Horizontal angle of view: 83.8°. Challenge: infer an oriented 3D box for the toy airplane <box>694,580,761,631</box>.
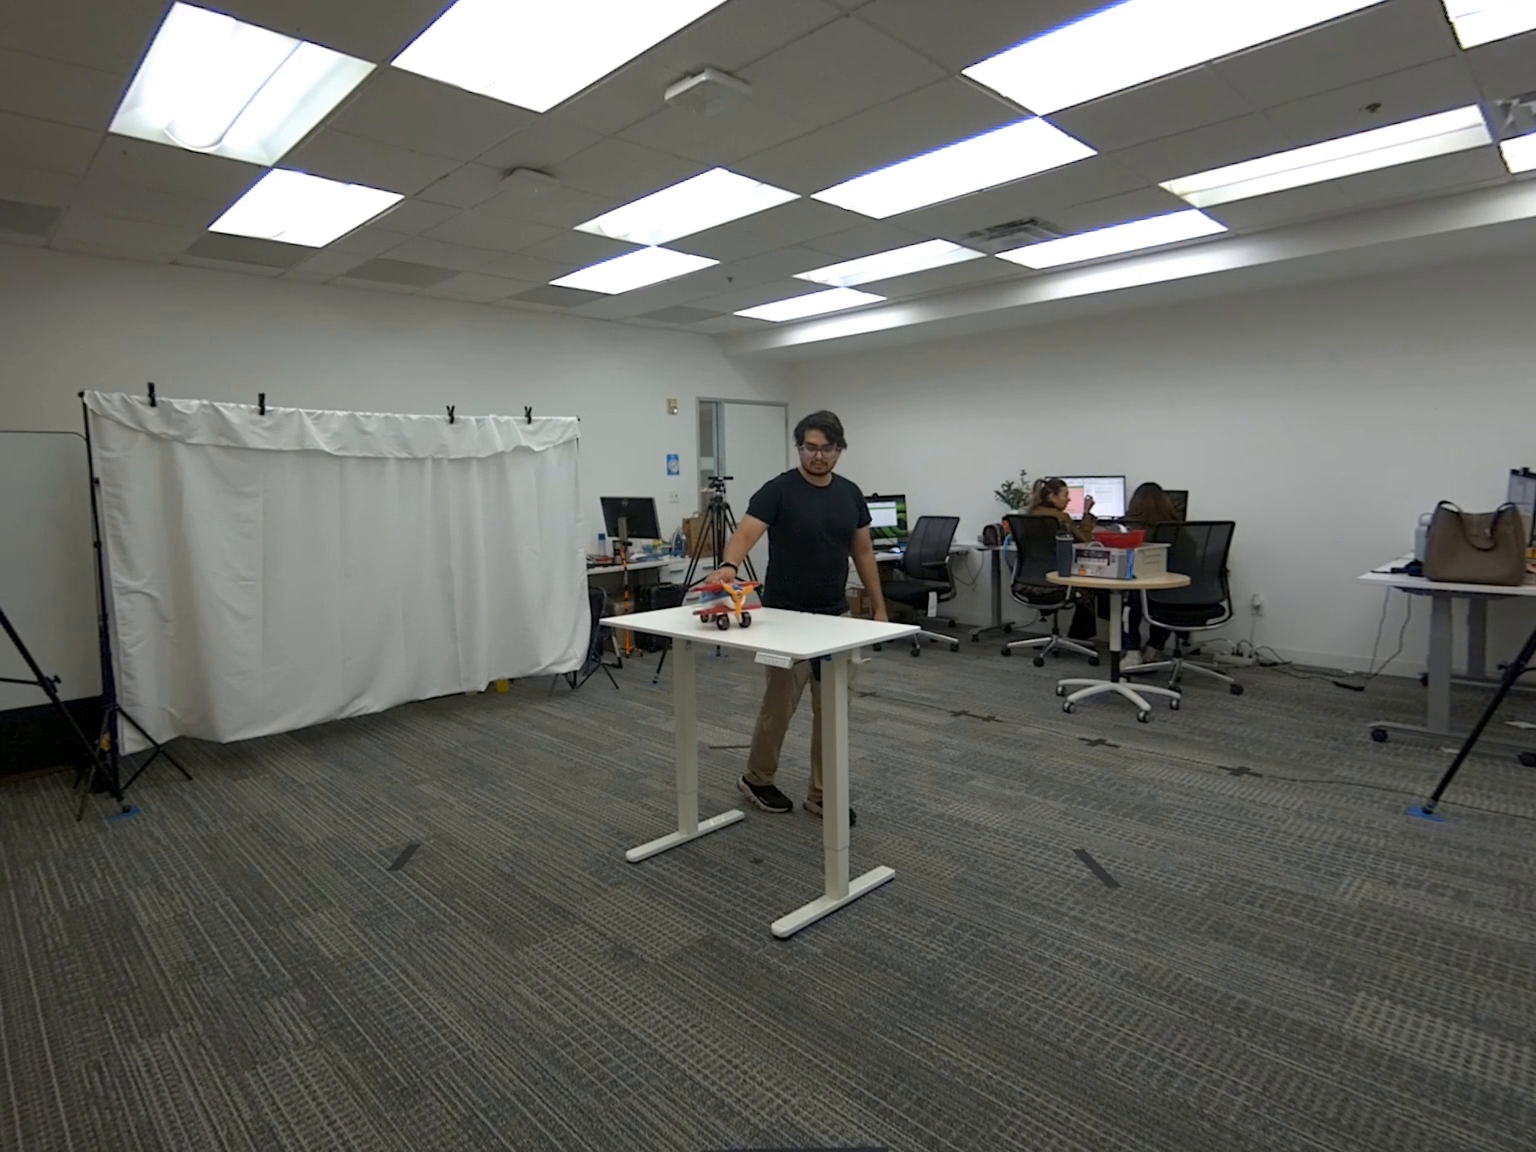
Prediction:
[{"bbox_3d":[-0.168,0.097,2.950,0.266,0.156,0.245,3,6,31],"label":"toy airplane"}]
